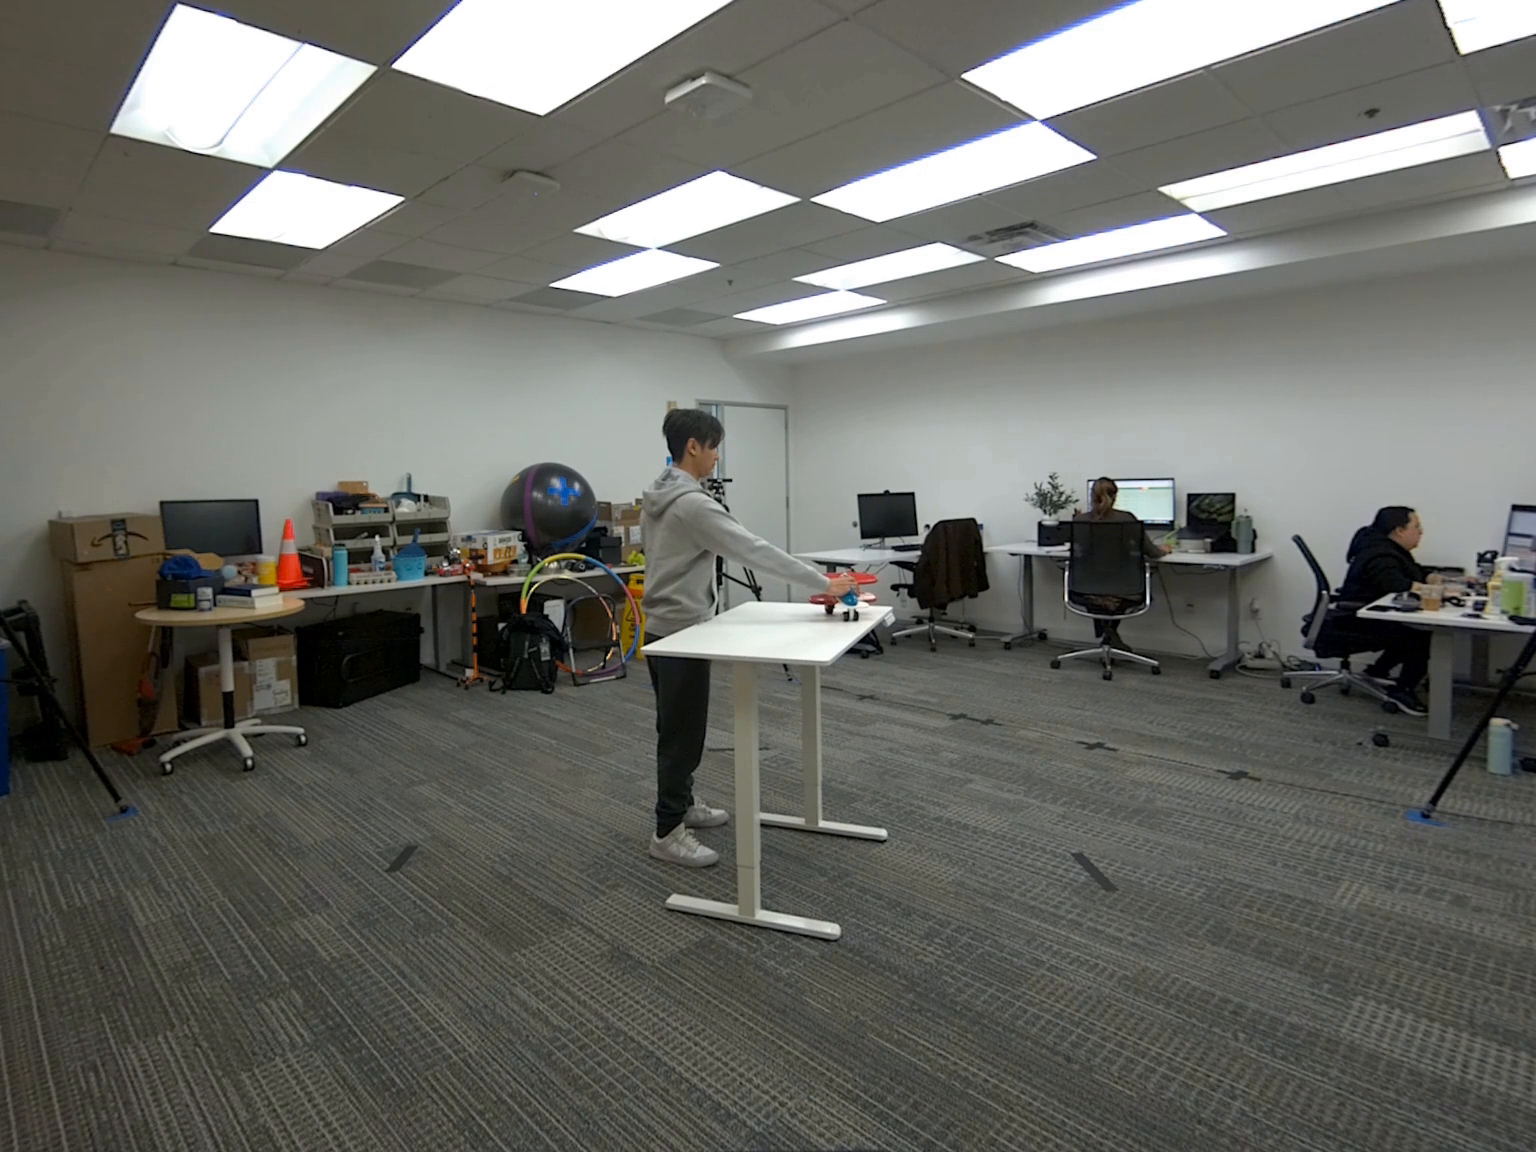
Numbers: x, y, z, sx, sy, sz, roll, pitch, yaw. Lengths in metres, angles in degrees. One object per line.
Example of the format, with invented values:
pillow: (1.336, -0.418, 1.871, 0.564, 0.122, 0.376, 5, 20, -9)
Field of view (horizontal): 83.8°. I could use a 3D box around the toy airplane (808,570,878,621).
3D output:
toy airplane: (0.302, 0.074, 3.141, 0.245, 0.155, 0.267, -6, 8, -33)
